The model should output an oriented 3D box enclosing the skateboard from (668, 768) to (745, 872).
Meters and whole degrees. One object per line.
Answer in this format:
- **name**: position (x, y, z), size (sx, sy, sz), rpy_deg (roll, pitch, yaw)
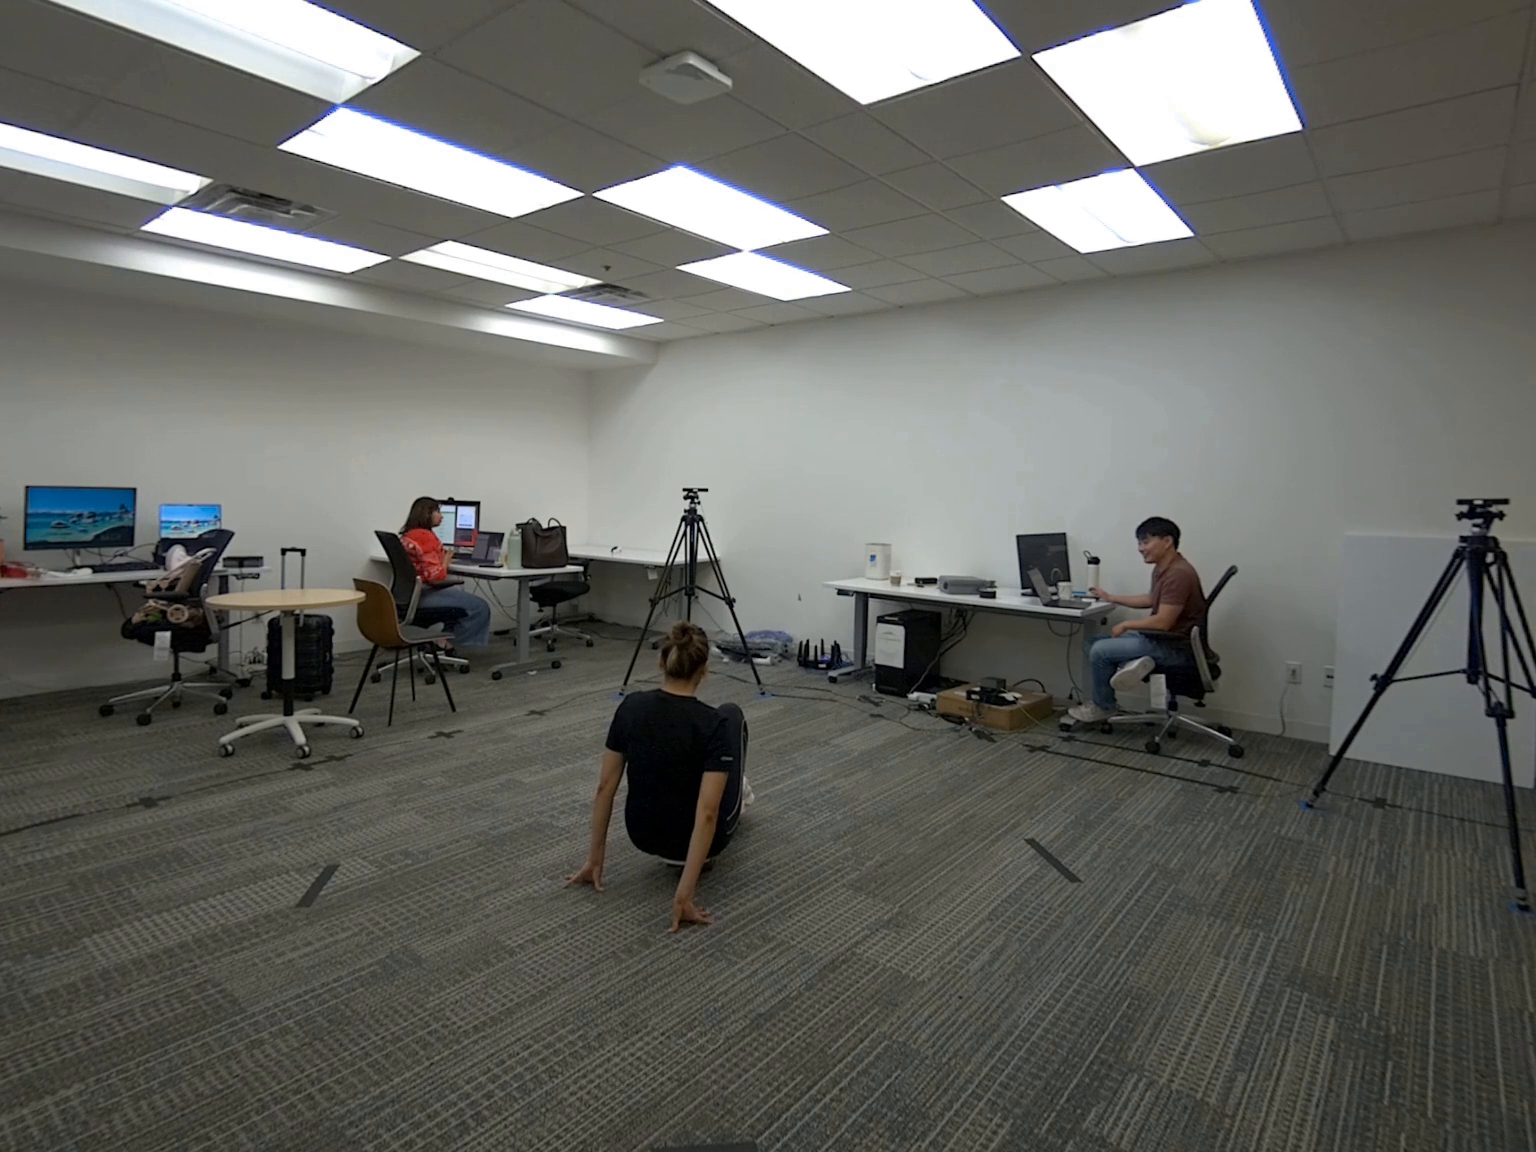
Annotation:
- **skateboard**: position (-0.258, 0.999, 3.324), size (0.196, 0.109, 0.778), rpy_deg (4, 8, 12)
